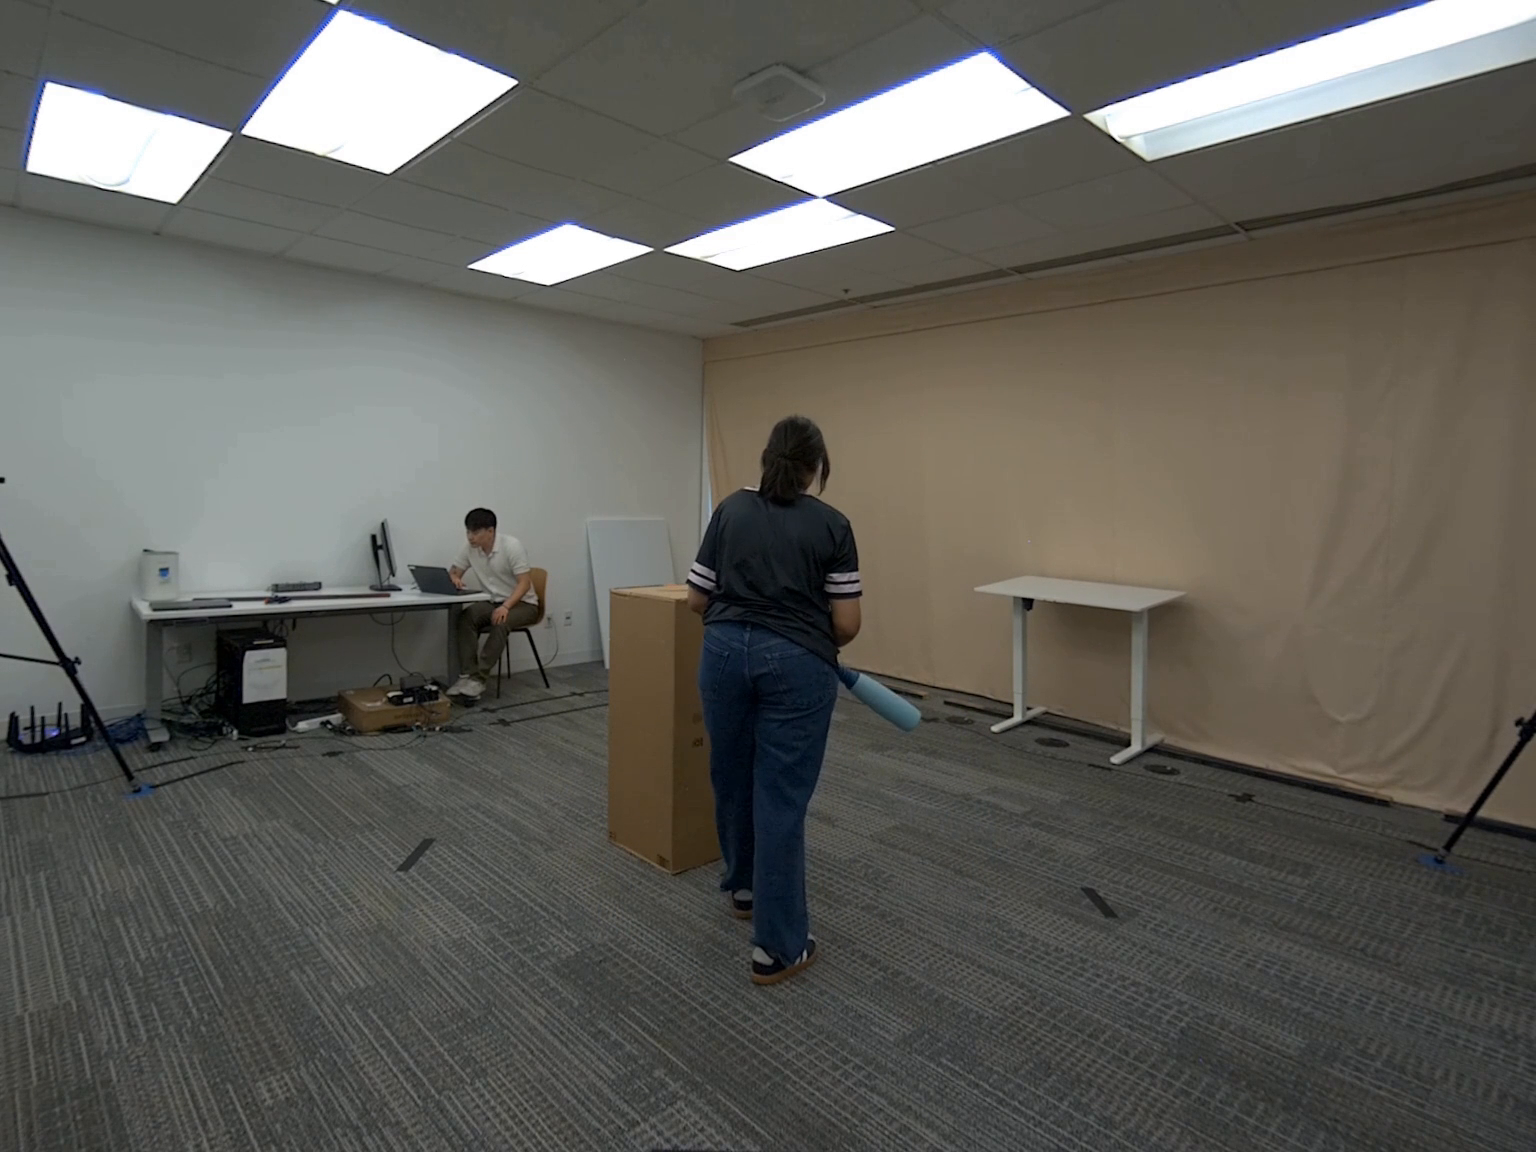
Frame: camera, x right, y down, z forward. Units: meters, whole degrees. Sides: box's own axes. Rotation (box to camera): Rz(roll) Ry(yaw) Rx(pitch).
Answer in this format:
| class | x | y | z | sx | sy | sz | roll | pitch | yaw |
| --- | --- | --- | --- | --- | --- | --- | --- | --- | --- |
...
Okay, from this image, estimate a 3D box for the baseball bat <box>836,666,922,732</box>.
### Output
| class | x | y | z | sx | sy | sz | roll | pitch | yaw |
| --- | --- | --- | --- | --- | --- | --- | --- | --- | --- |
| baseball bat | 0.275 | 0.343 | 2.824 | 0.544 | 0.089 | 0.089 | 34 | 6 | 3 |
